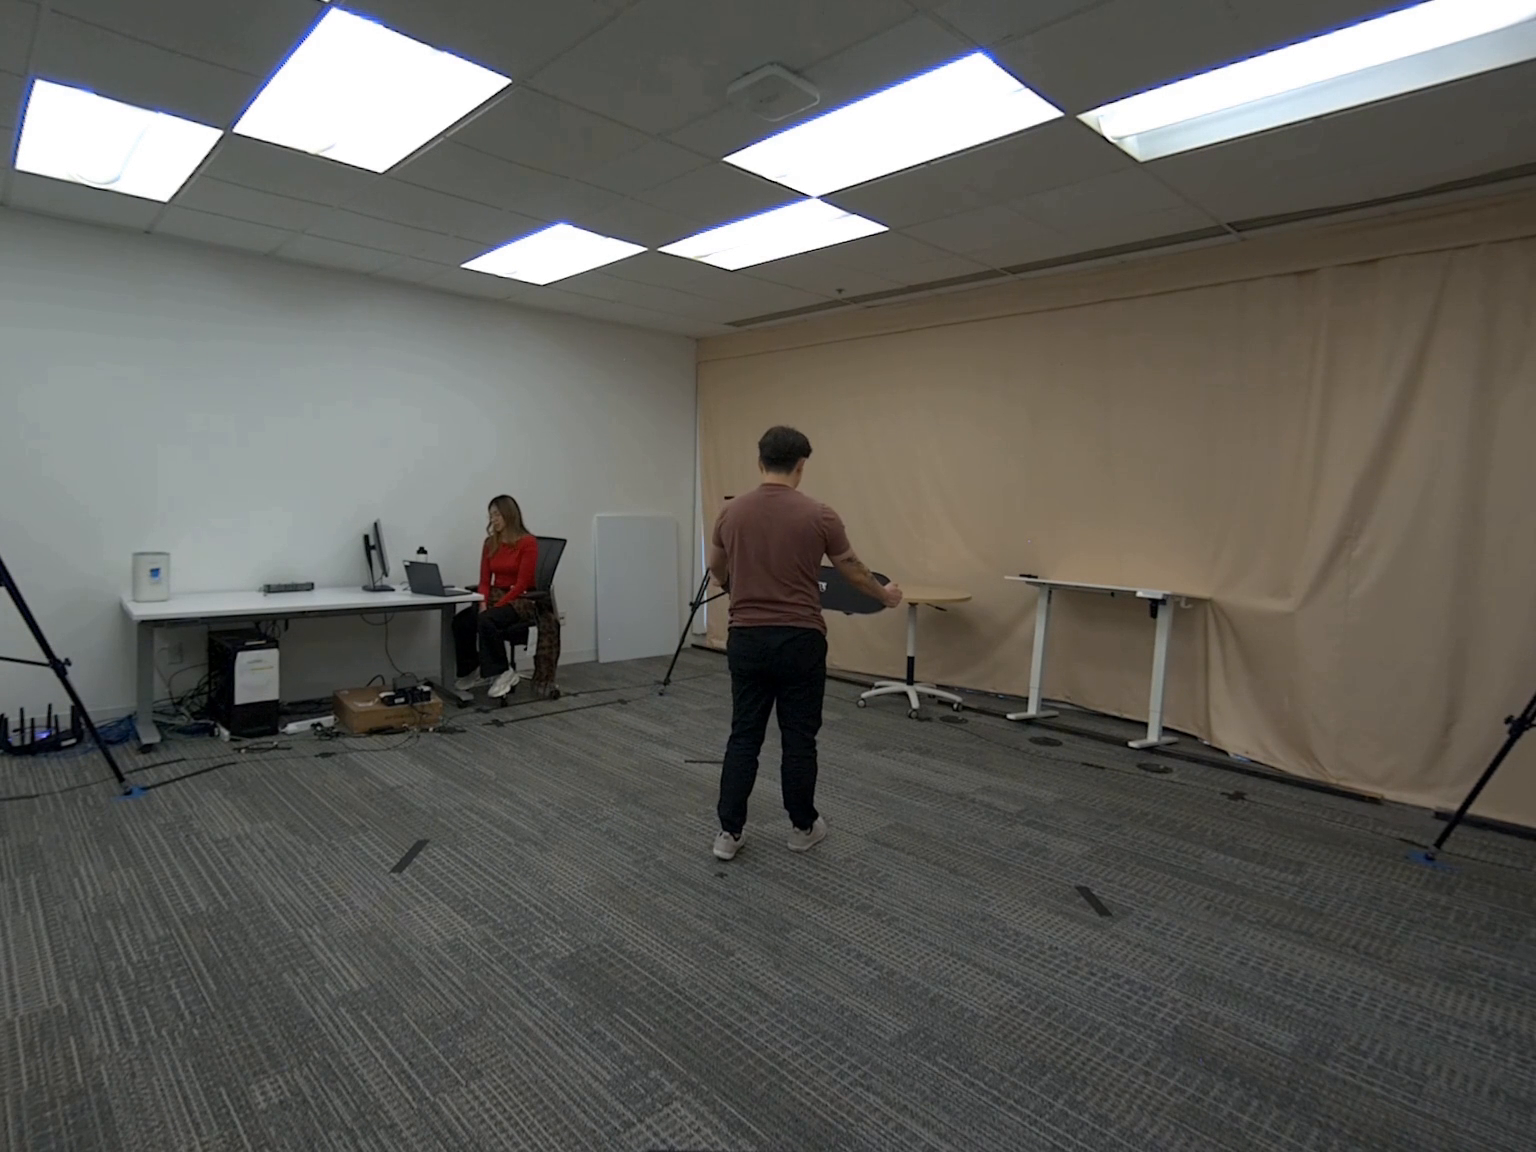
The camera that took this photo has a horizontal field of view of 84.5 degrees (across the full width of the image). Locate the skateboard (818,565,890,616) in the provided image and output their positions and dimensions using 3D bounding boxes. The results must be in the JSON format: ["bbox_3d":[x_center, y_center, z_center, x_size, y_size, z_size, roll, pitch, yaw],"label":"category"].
[{"bbox_3d":[0.153,0.047,3.686,0.798,0.195,0.108,7,-14,19],"label":"skateboard"}]
